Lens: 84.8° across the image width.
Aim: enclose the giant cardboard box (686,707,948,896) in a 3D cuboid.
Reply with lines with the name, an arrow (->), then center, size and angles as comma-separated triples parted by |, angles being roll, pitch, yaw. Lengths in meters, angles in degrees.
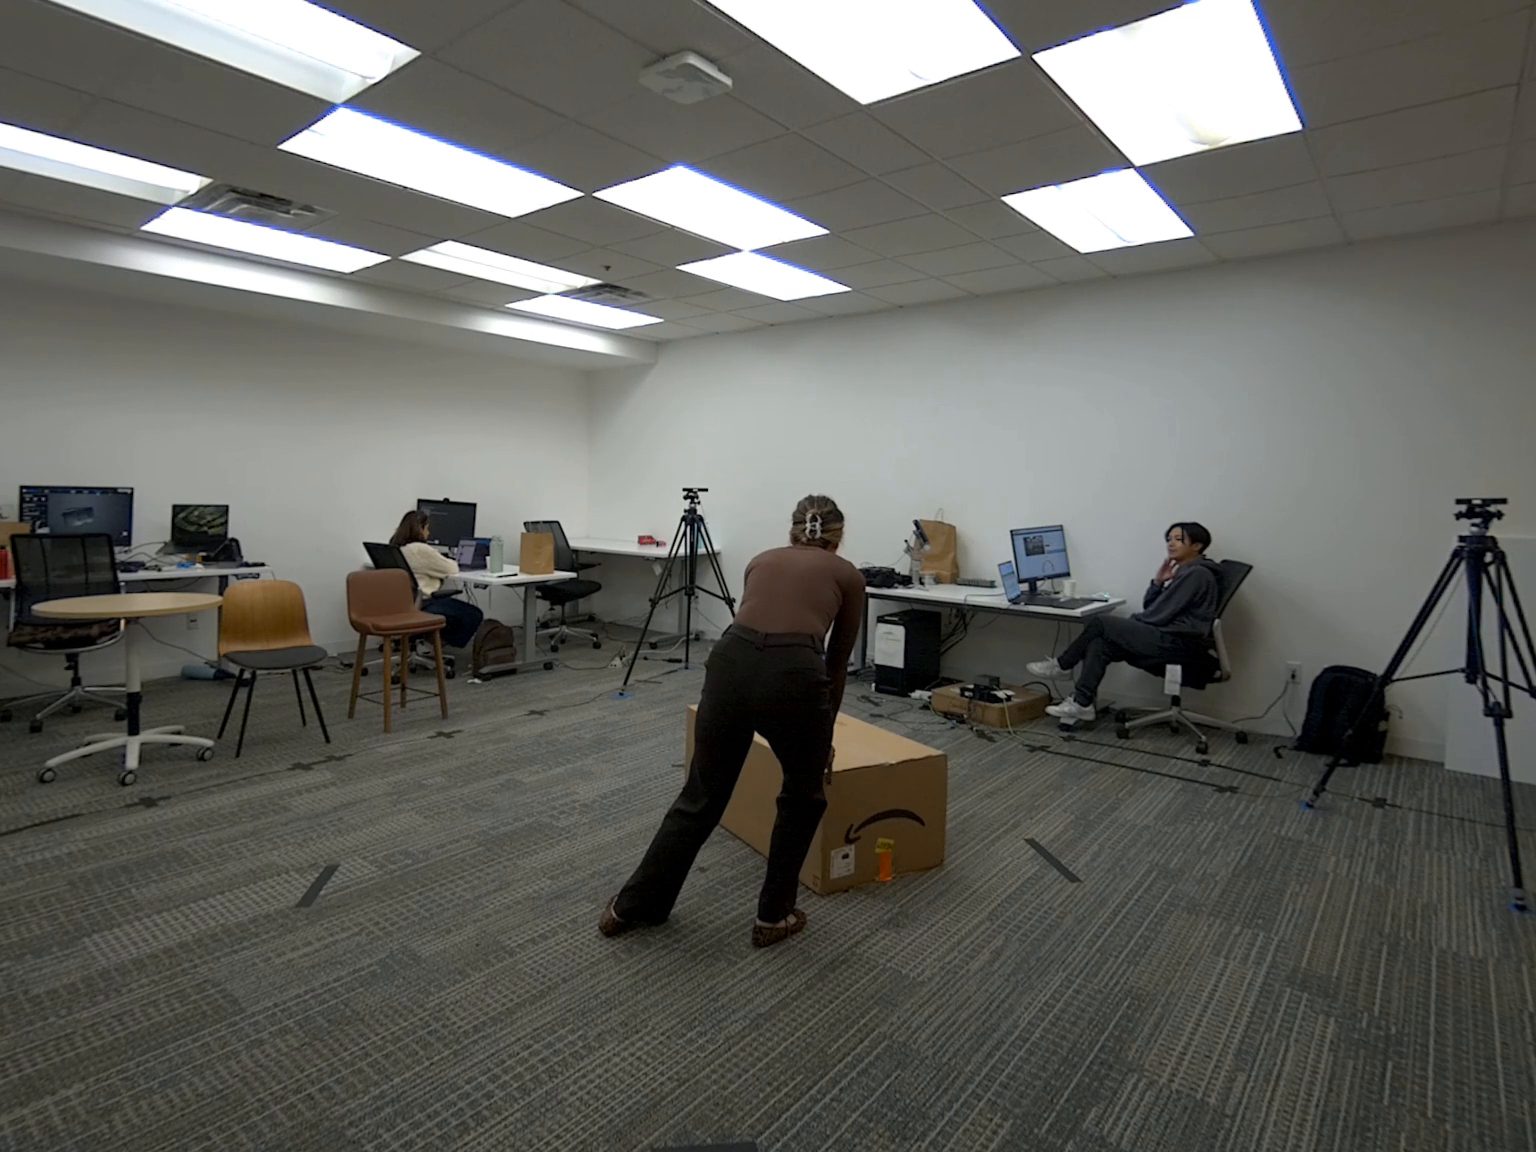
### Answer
giant cardboard box -> 0.148, 0.827, 3.481 | 0.568, 0.445, 1.060 | 0, 6, -32
